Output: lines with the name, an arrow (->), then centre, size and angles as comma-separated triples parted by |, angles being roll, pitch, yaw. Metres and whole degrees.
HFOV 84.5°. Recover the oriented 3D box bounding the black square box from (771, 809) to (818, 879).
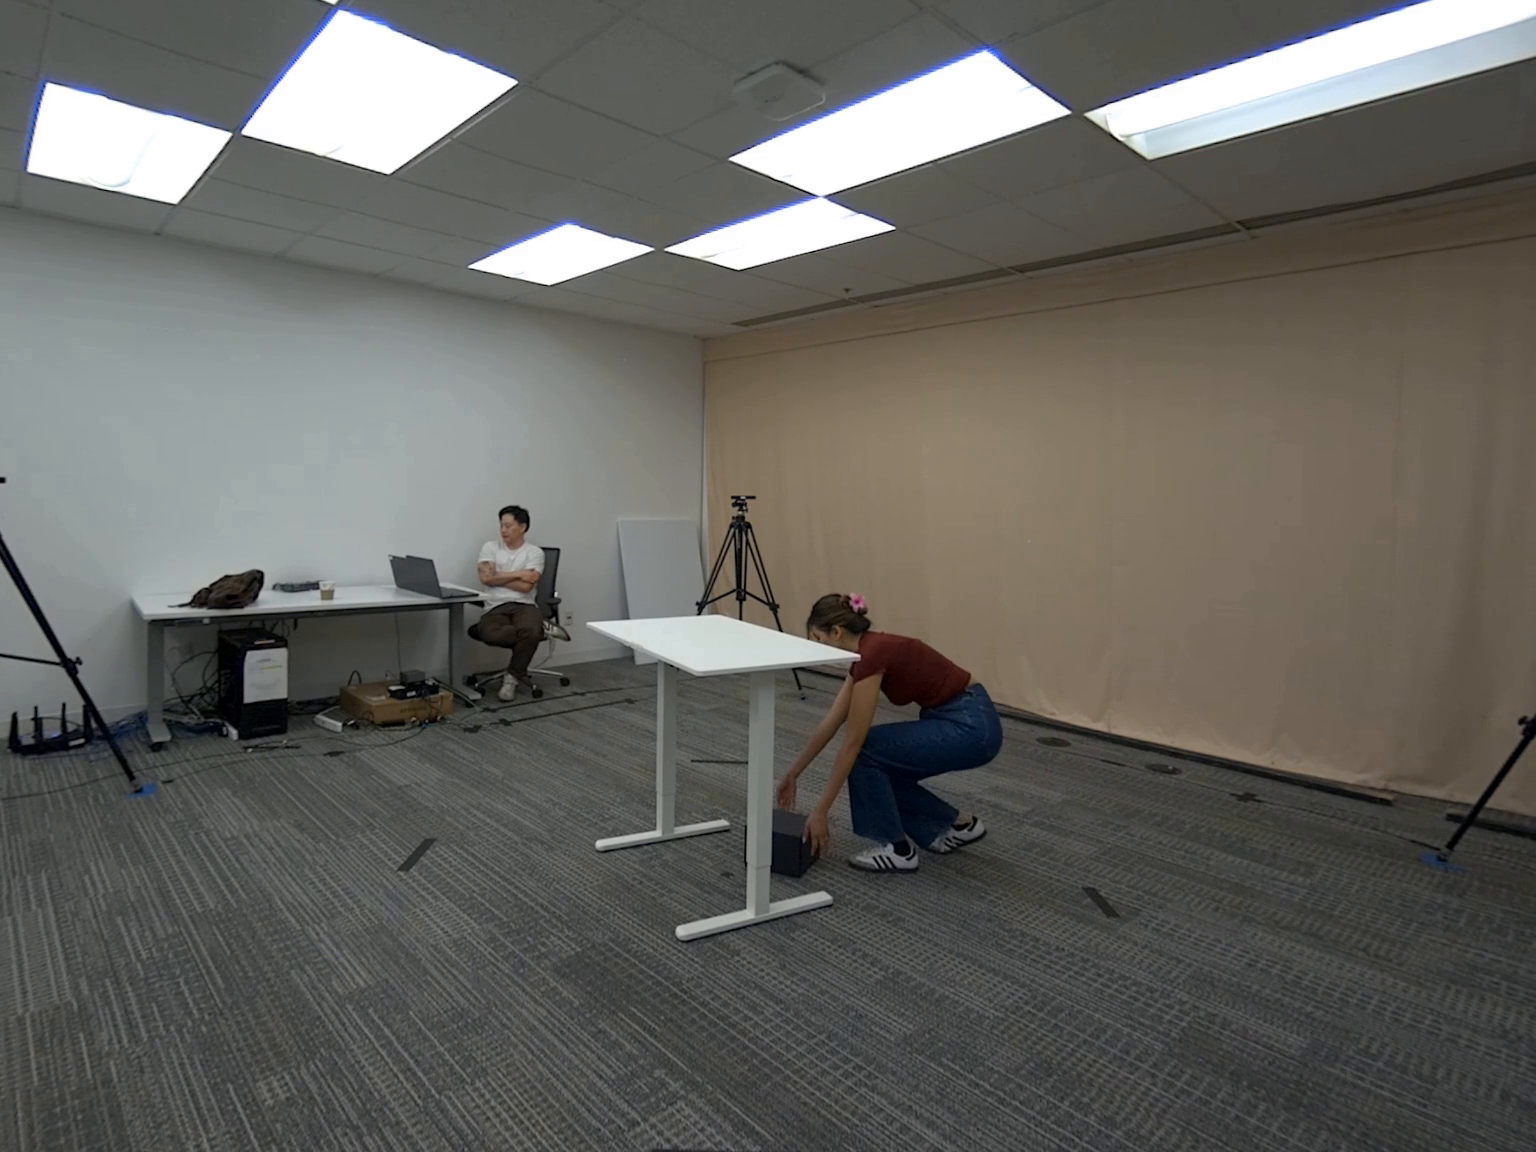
black square box -> 0.054, 1.009, 3.216 | 0.232, 0.155, 0.213 | 4, 4, 25
